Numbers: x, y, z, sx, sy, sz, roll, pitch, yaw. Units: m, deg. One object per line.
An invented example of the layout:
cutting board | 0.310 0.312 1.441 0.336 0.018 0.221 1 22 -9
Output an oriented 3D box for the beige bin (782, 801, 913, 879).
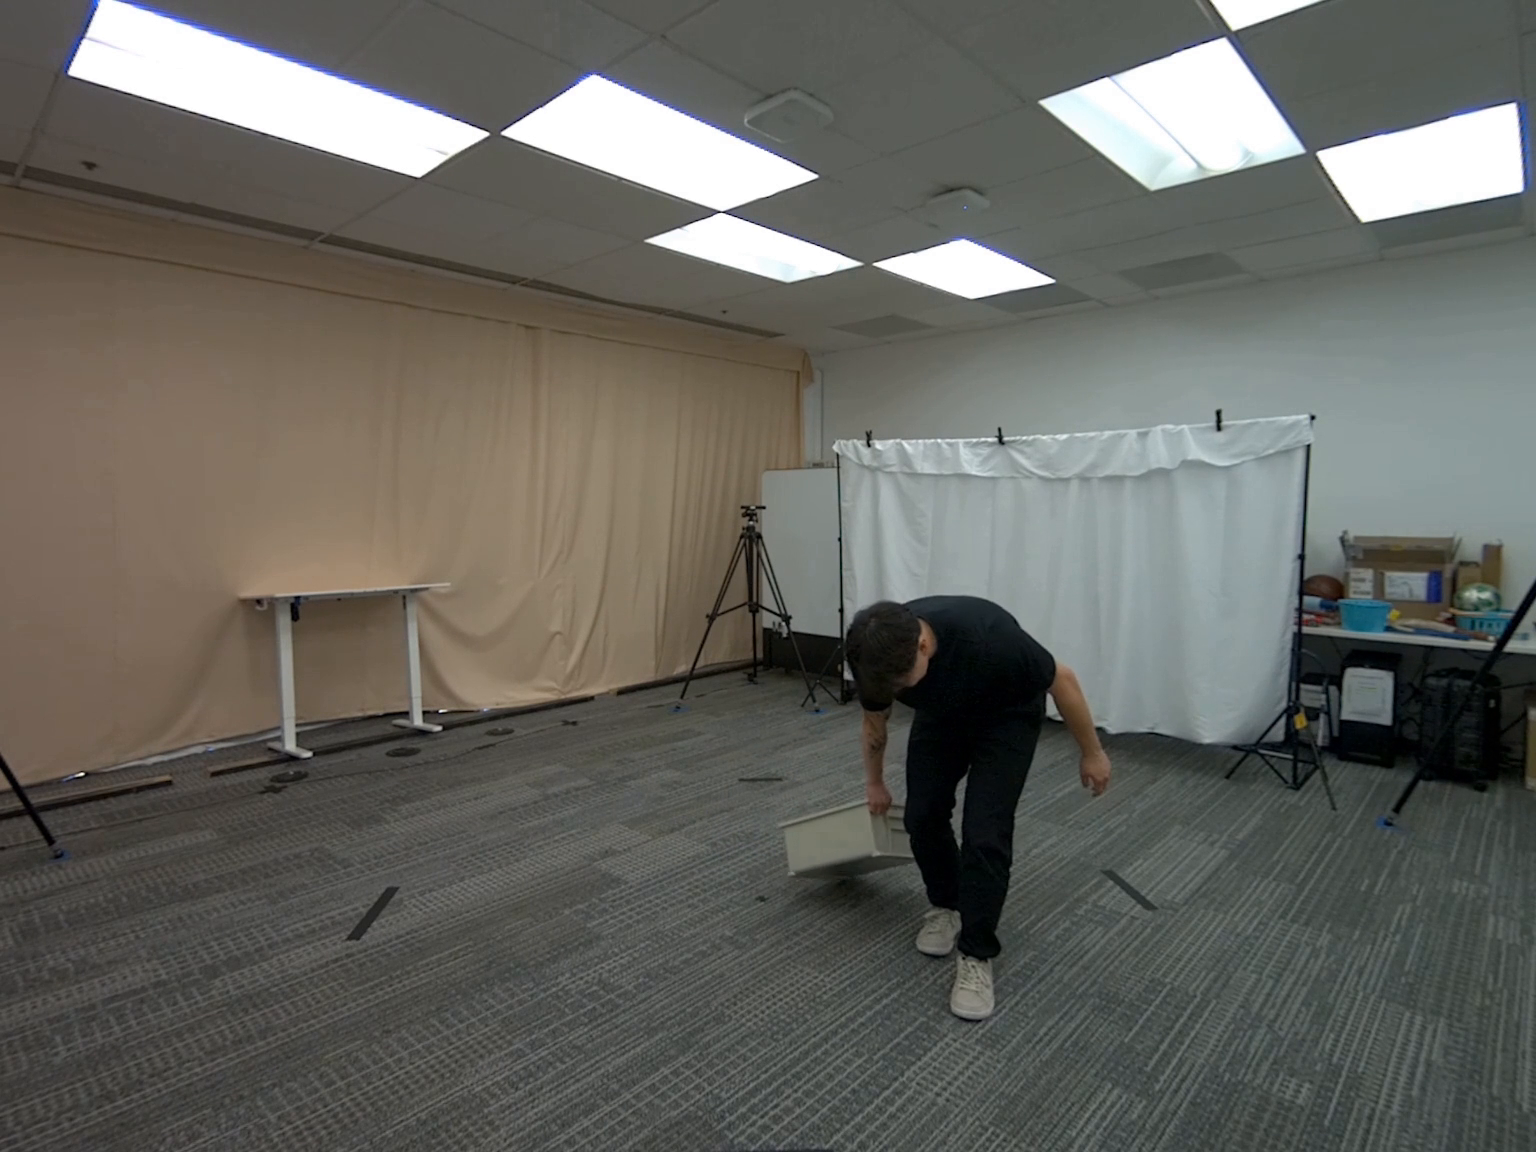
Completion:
beige bin | 0.329 0.936 2.958 0.364 0.192 0.430 19 -36 -41
